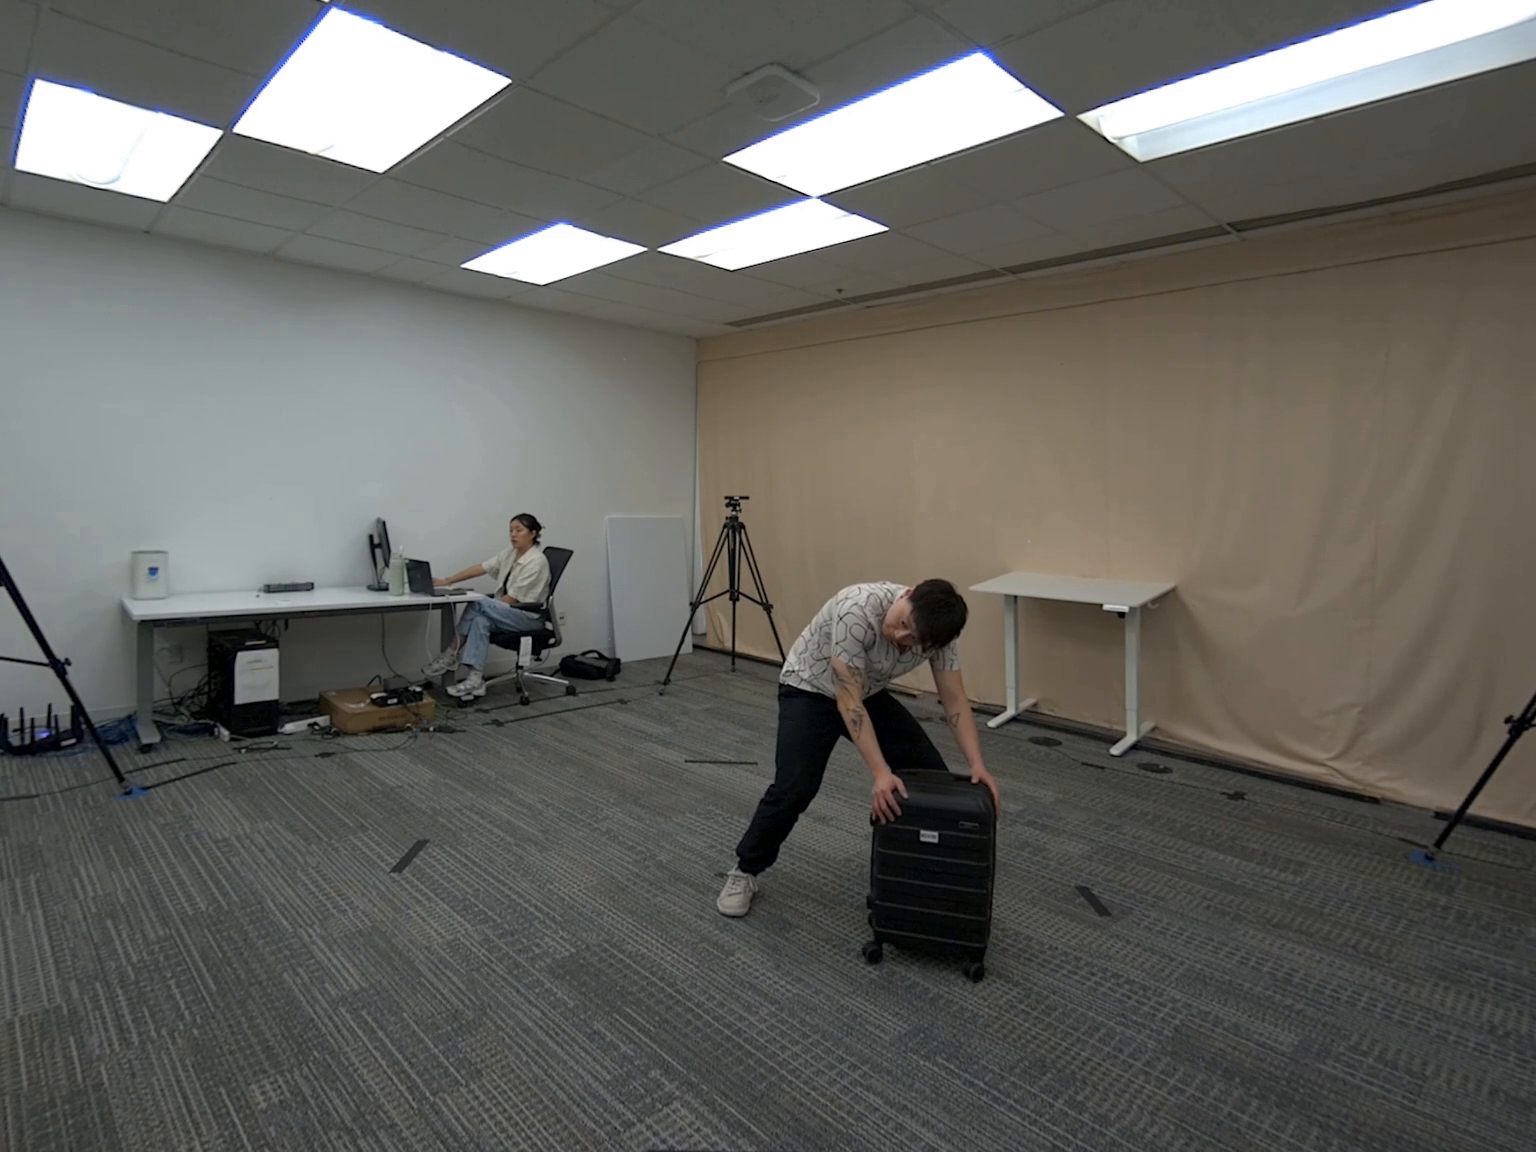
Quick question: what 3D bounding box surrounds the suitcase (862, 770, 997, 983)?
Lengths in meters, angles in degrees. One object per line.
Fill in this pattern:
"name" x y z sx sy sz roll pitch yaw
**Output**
"suitcase" 0.502 0.894 2.596 0.380 0.548 0.246 3 4 14
